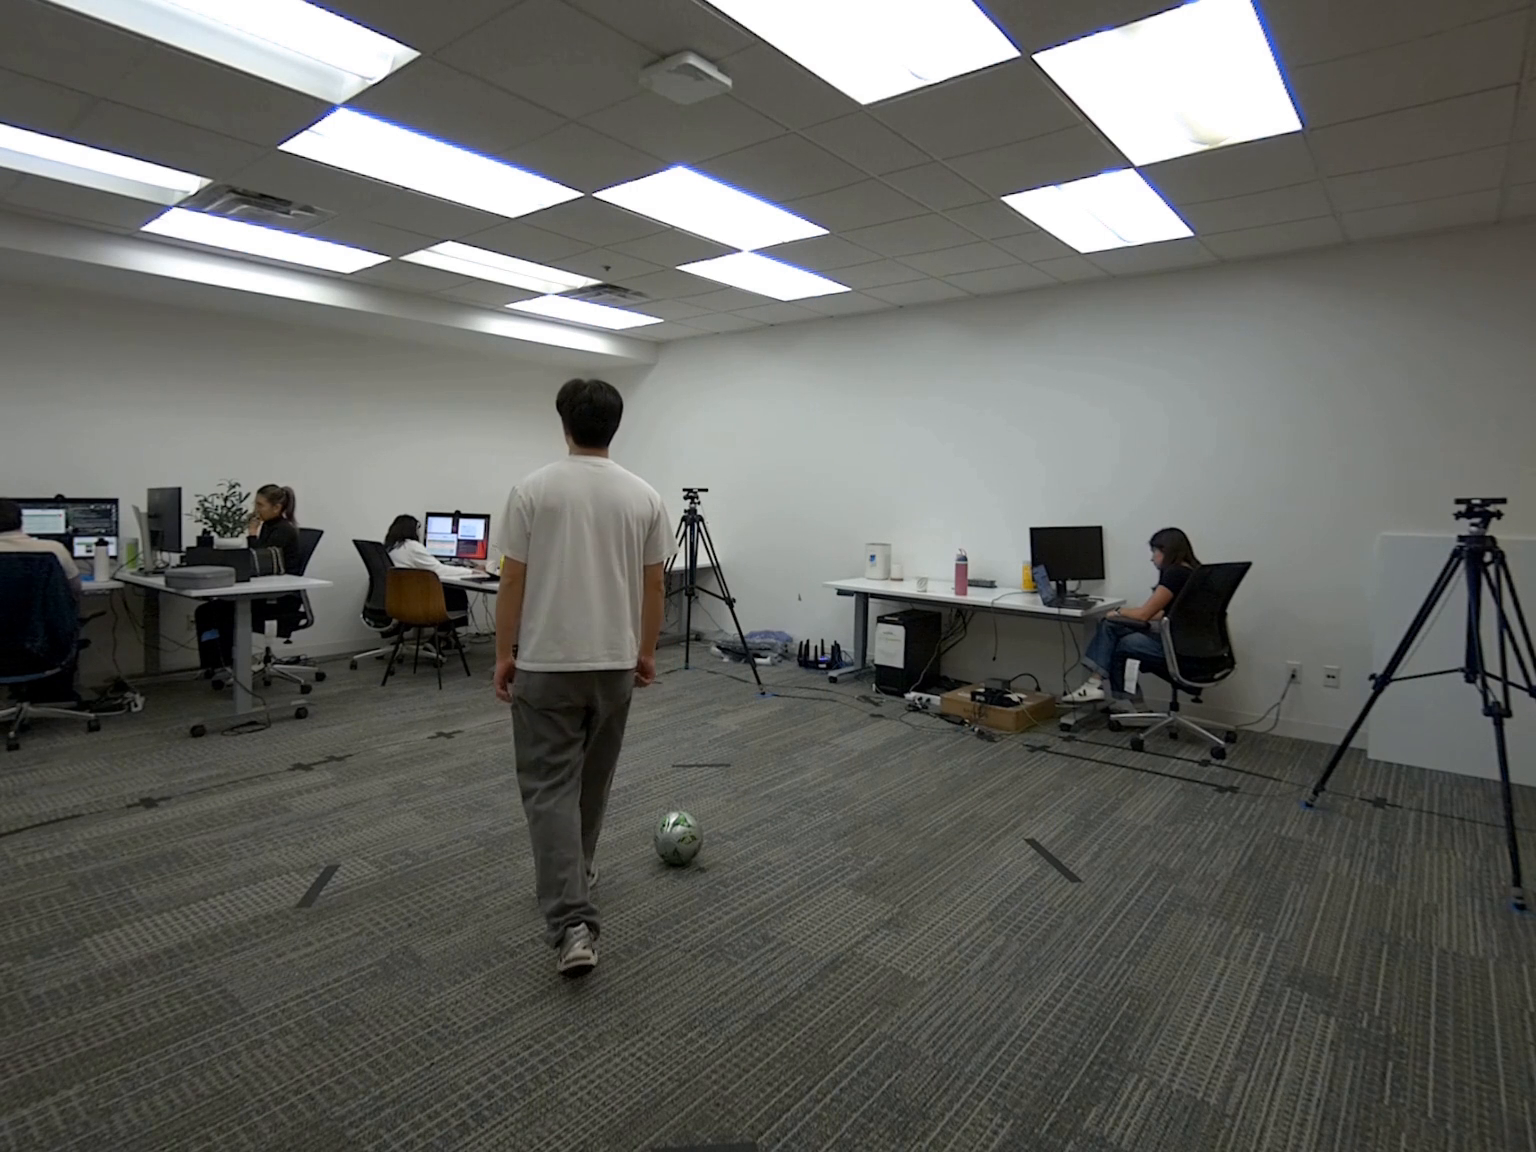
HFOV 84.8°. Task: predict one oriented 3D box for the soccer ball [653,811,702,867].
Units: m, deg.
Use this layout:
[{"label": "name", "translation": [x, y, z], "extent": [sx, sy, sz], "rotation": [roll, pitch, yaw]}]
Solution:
[{"label": "soccer ball", "translation": [-0.330, 0.963, 3.165], "extent": [0.187, 0.187, 0.188], "rotation": [1, 4, -2]}]
